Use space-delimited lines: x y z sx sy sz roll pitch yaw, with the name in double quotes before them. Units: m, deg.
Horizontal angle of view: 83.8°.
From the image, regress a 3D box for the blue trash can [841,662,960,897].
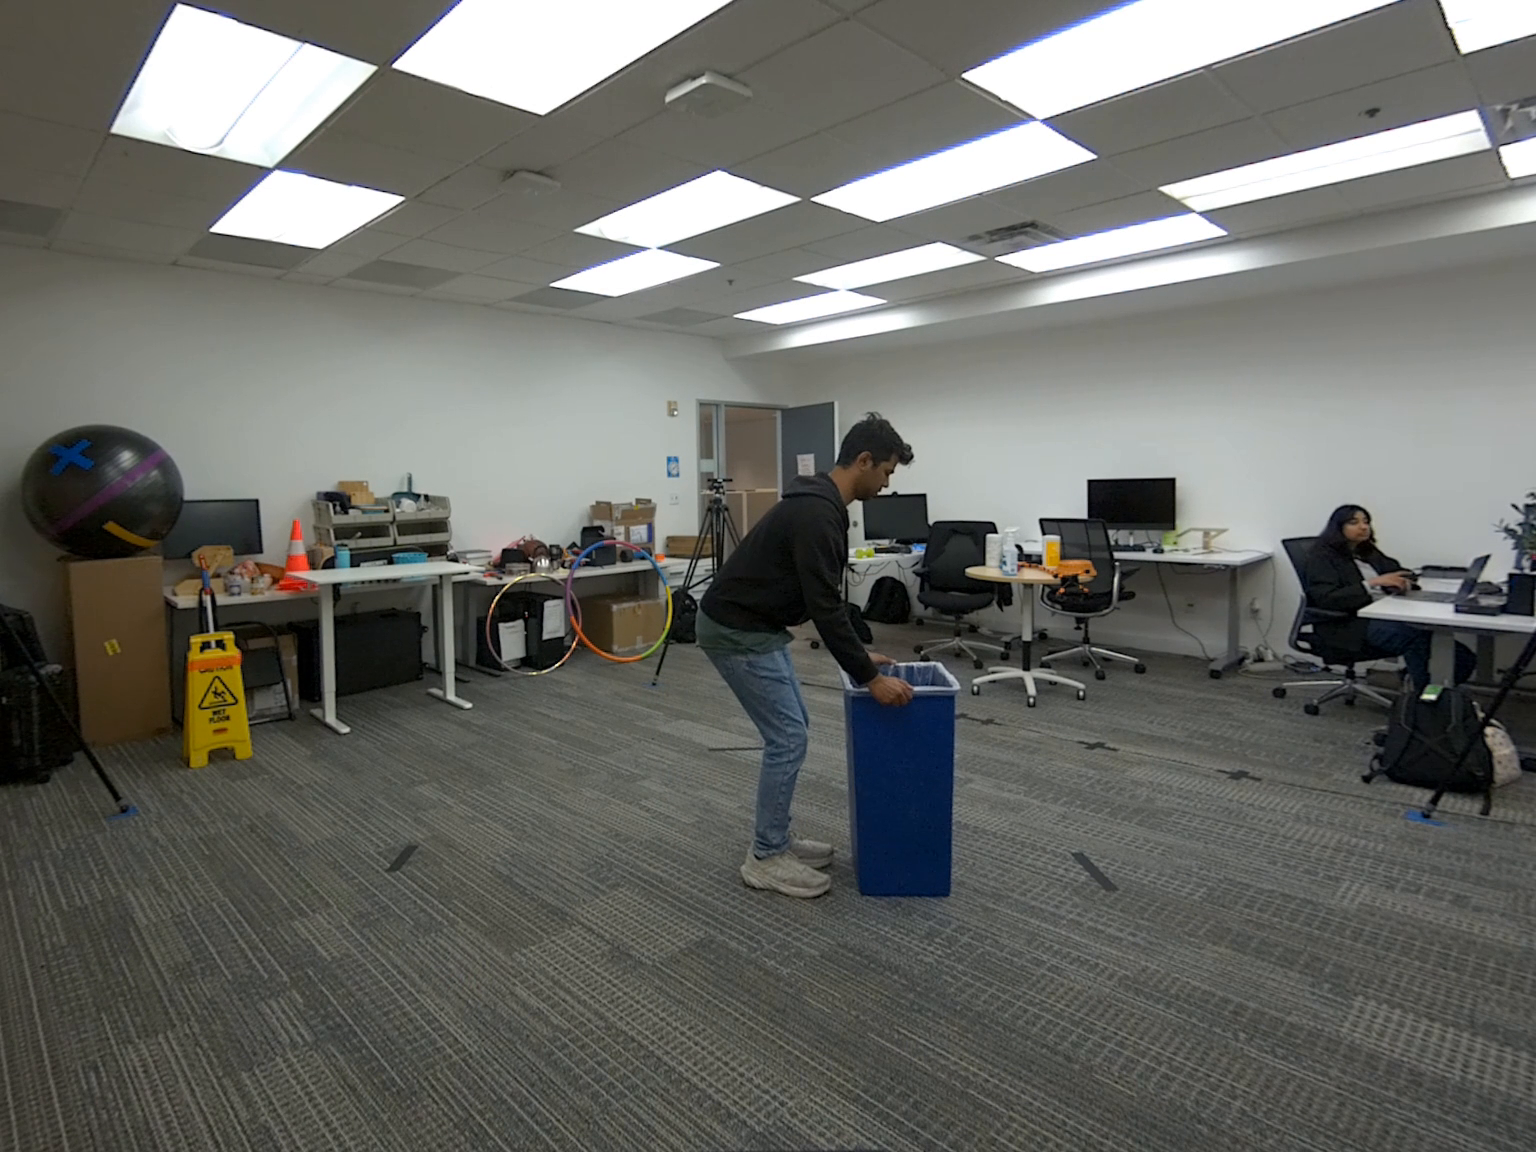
"blue trash can" 0.449 0.687 2.950 0.379 0.711 0.375 -2 4 1
